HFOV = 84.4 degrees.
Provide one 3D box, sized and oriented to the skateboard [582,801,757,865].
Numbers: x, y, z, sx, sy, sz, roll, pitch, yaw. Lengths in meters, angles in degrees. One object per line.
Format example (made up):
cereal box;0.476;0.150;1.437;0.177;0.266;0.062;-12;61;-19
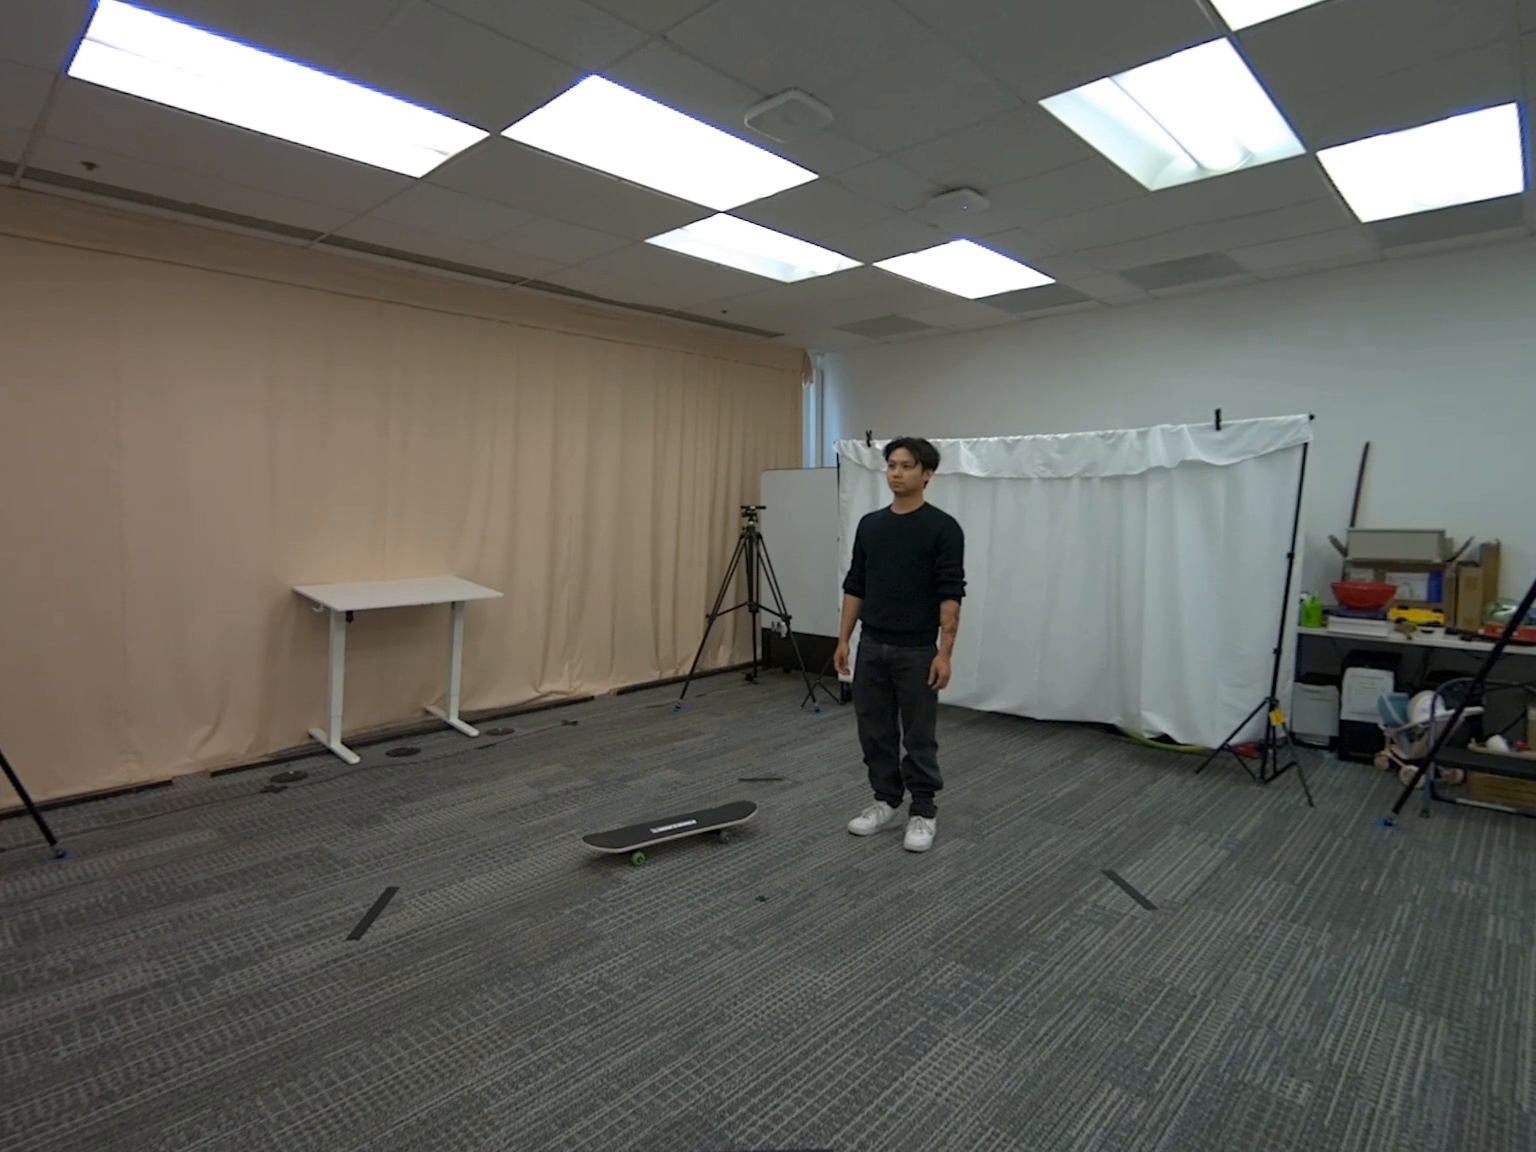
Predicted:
skateboard;-0.391;1.053;3.440;0.764;0.110;0.199;-4;4;-32
